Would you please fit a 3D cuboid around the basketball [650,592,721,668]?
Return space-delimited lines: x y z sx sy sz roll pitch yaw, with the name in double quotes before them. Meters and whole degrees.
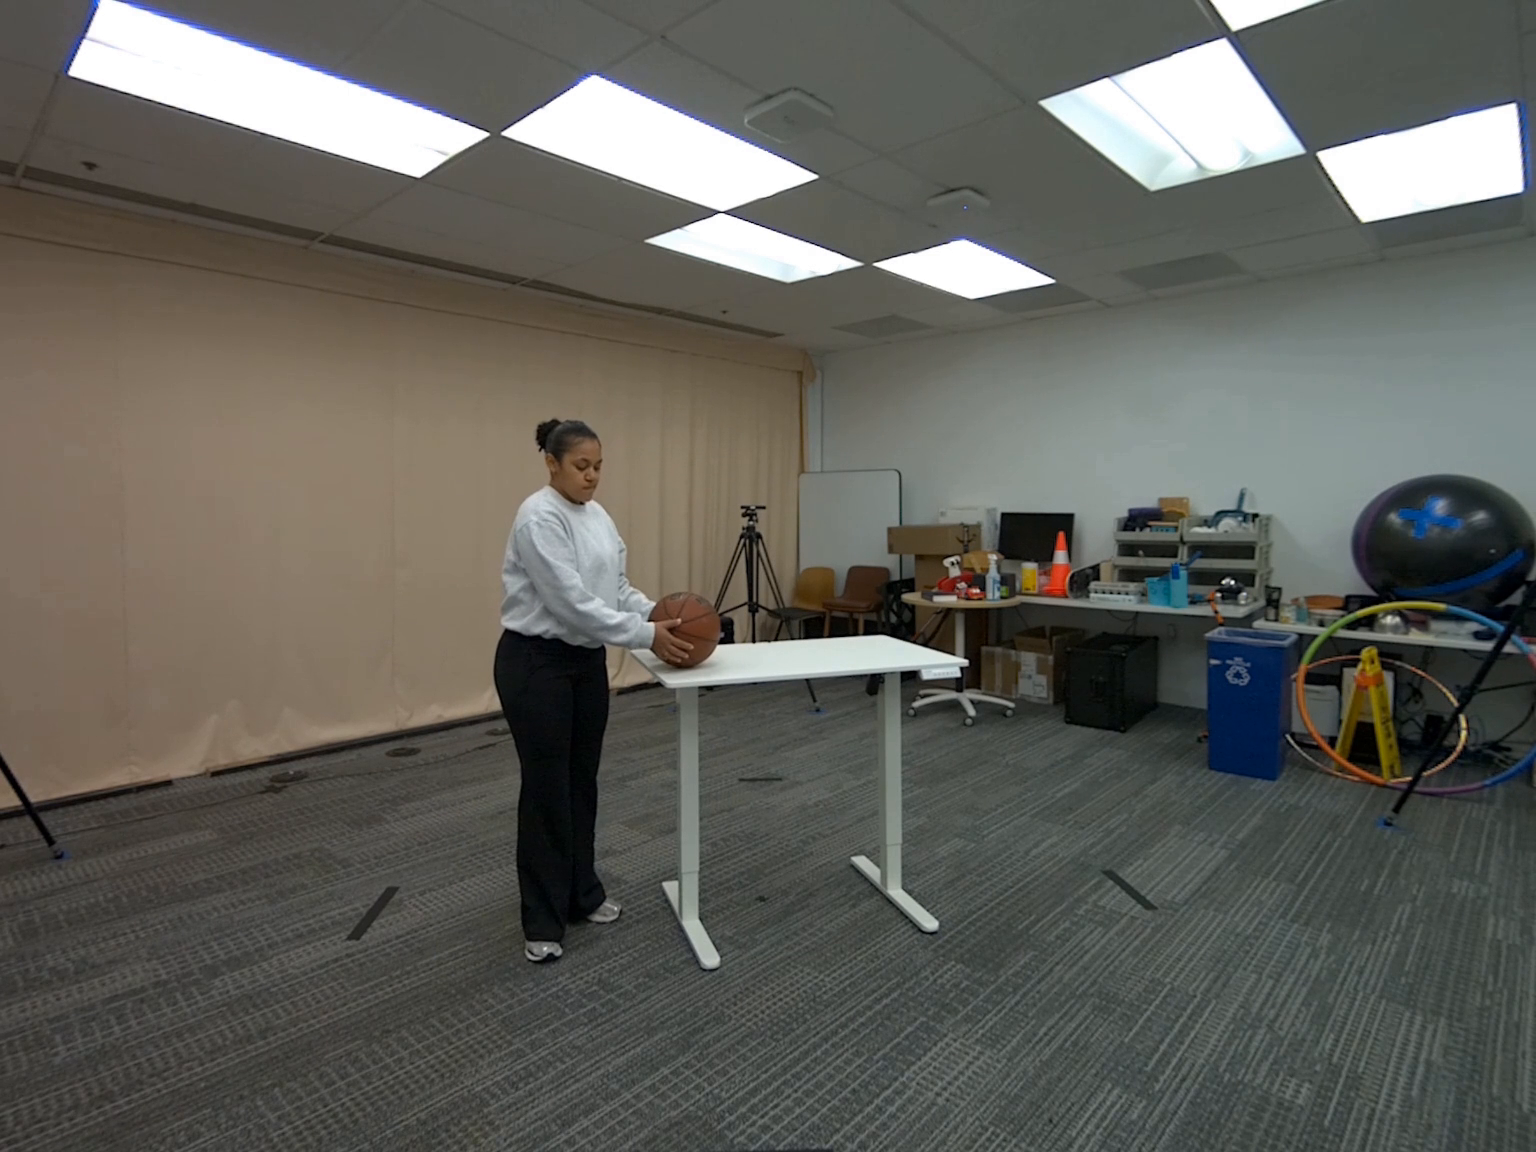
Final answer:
"basketball" -0.274 0.170 2.667 0.236 0.235 0.237 0 4 -2
